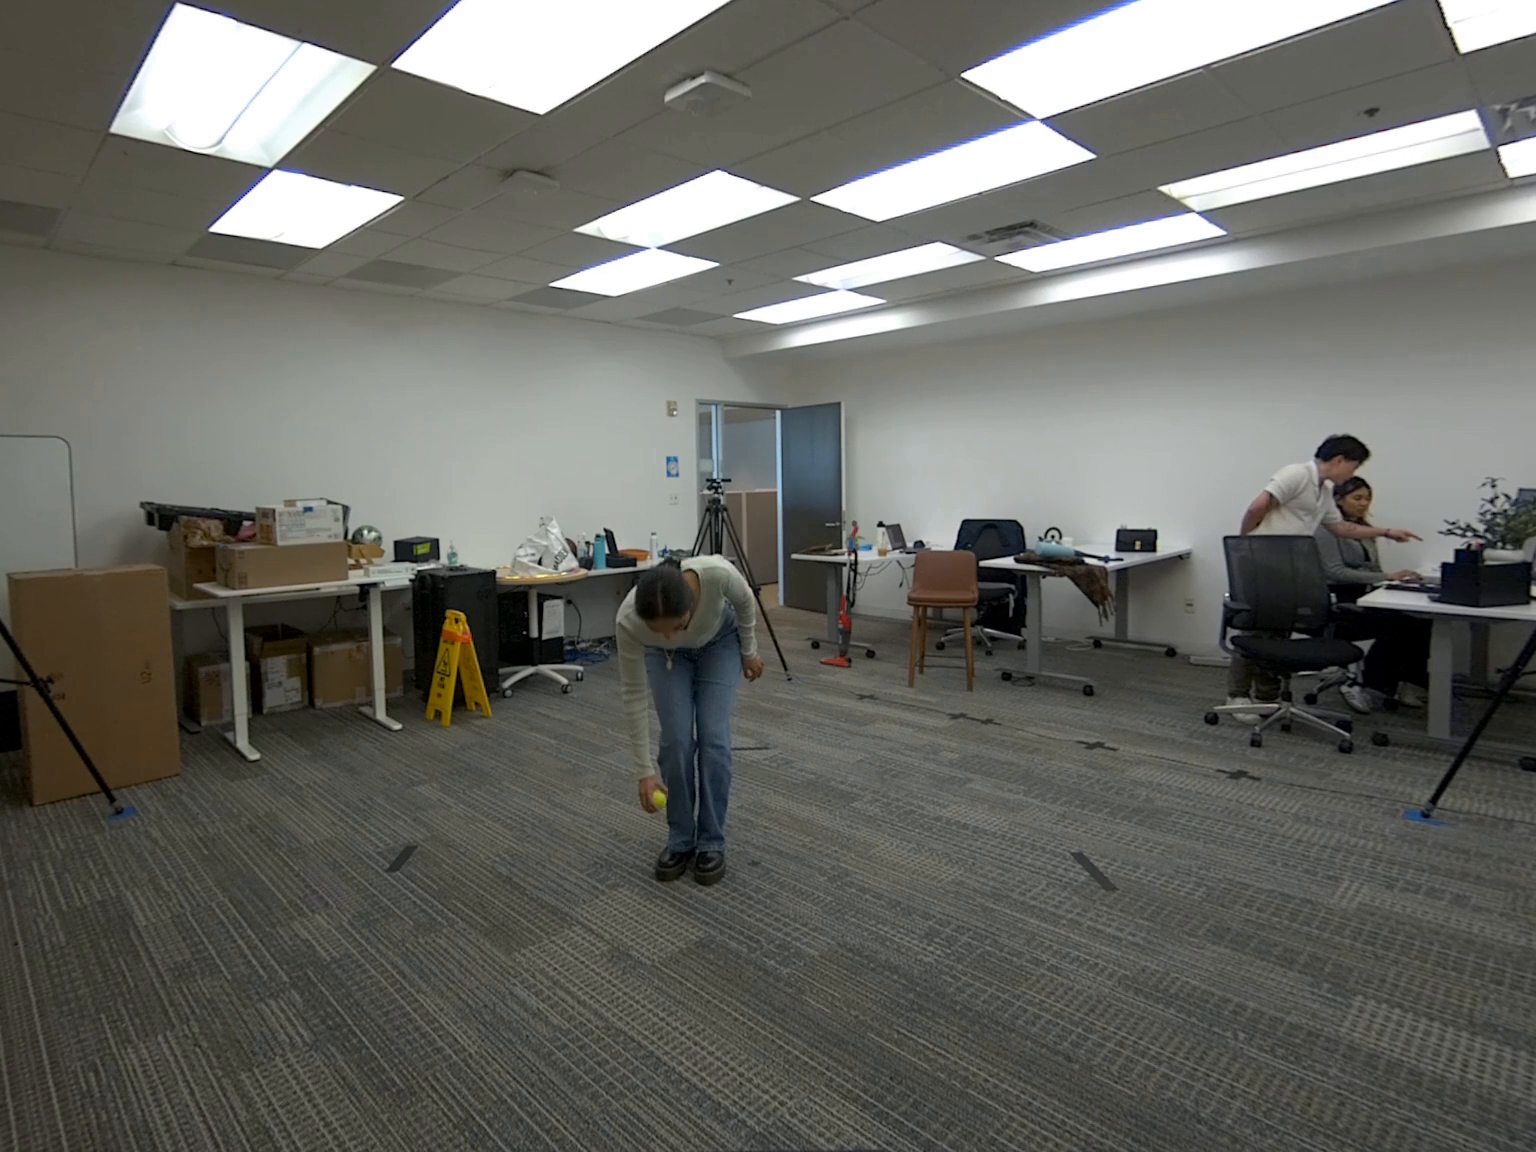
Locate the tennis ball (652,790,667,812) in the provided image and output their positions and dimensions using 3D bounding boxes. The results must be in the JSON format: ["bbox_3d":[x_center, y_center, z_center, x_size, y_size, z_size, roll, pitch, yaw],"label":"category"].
[{"bbox_3d":[-0.365,0.769,2.832,0.066,0.066,0.067,-1,5,-2],"label":"tennis ball"}]
